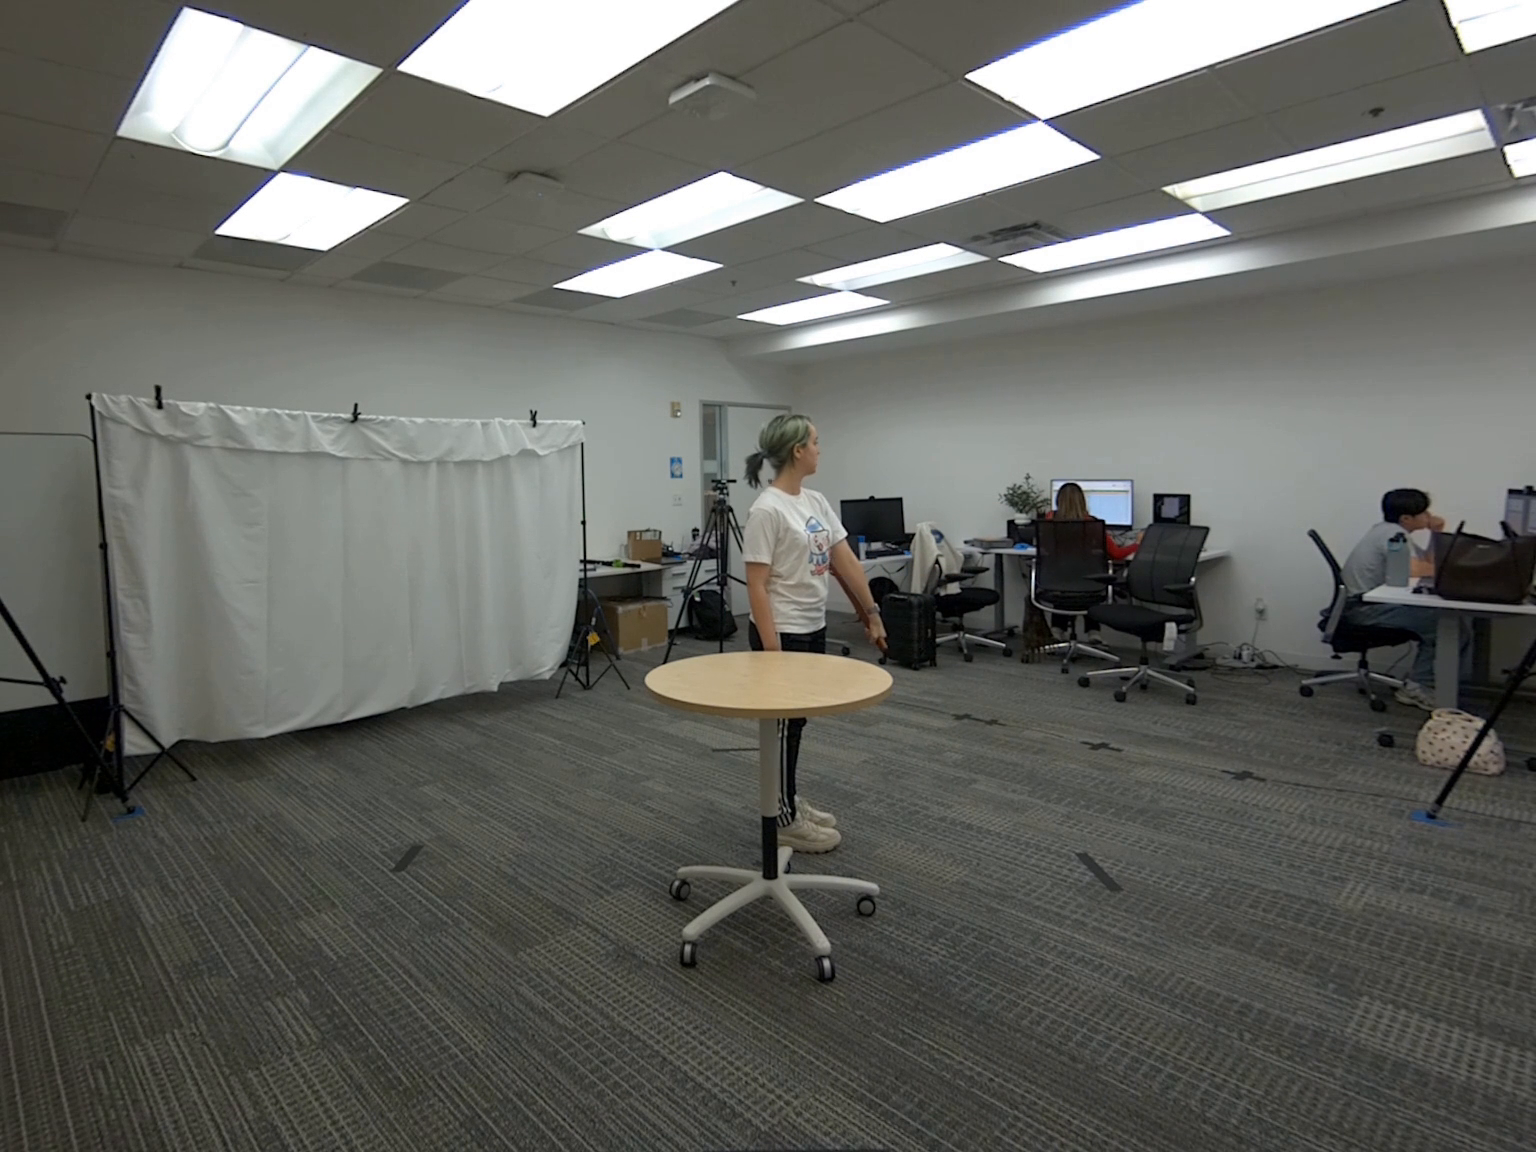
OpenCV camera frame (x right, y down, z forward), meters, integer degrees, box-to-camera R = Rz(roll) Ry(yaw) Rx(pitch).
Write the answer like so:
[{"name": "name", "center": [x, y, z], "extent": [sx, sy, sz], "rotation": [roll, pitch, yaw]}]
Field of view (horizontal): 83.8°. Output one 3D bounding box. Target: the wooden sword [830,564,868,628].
[{"name": "wooden sword", "center": [0.217, -0.085, 3.651], "extent": [0.023, 0.050, 1.063], "rotation": [-8, 48, -29]}]
